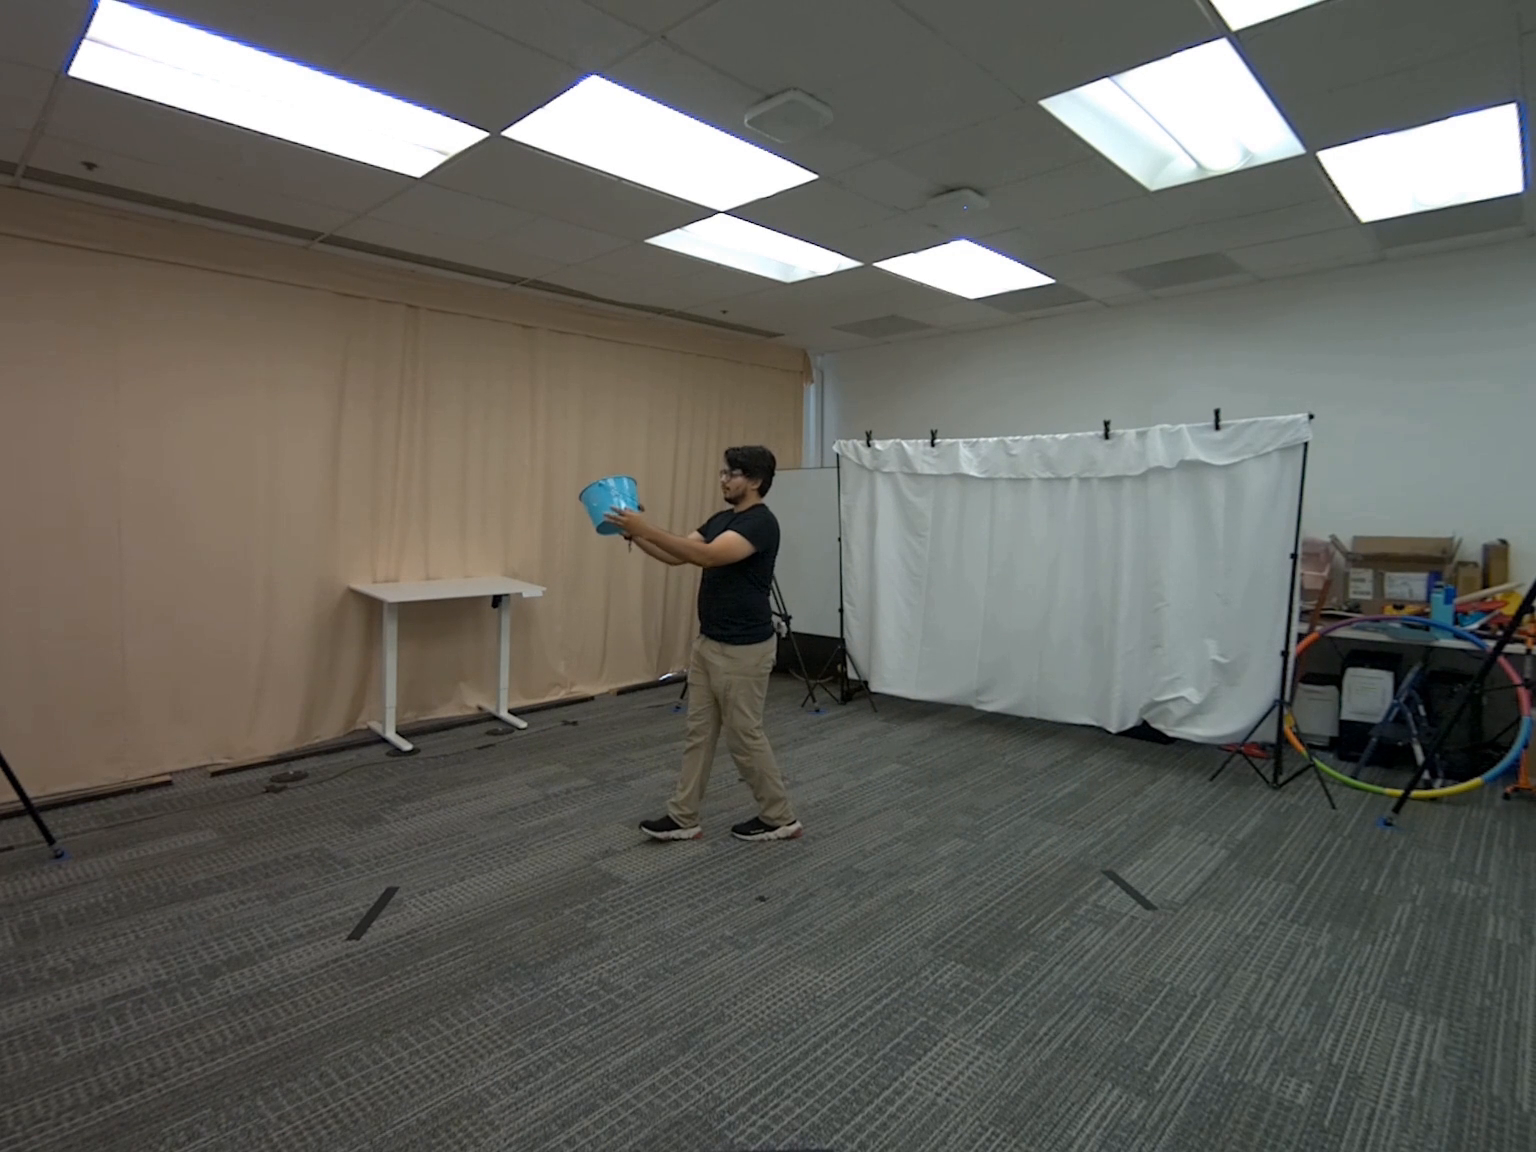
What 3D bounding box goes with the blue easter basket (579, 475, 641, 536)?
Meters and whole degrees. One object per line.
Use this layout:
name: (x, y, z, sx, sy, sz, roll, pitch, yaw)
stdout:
blue easter basket: (-0.613, -0.267, 3.297, 0.242, 0.158, 0.241, -17, -17, -7)
